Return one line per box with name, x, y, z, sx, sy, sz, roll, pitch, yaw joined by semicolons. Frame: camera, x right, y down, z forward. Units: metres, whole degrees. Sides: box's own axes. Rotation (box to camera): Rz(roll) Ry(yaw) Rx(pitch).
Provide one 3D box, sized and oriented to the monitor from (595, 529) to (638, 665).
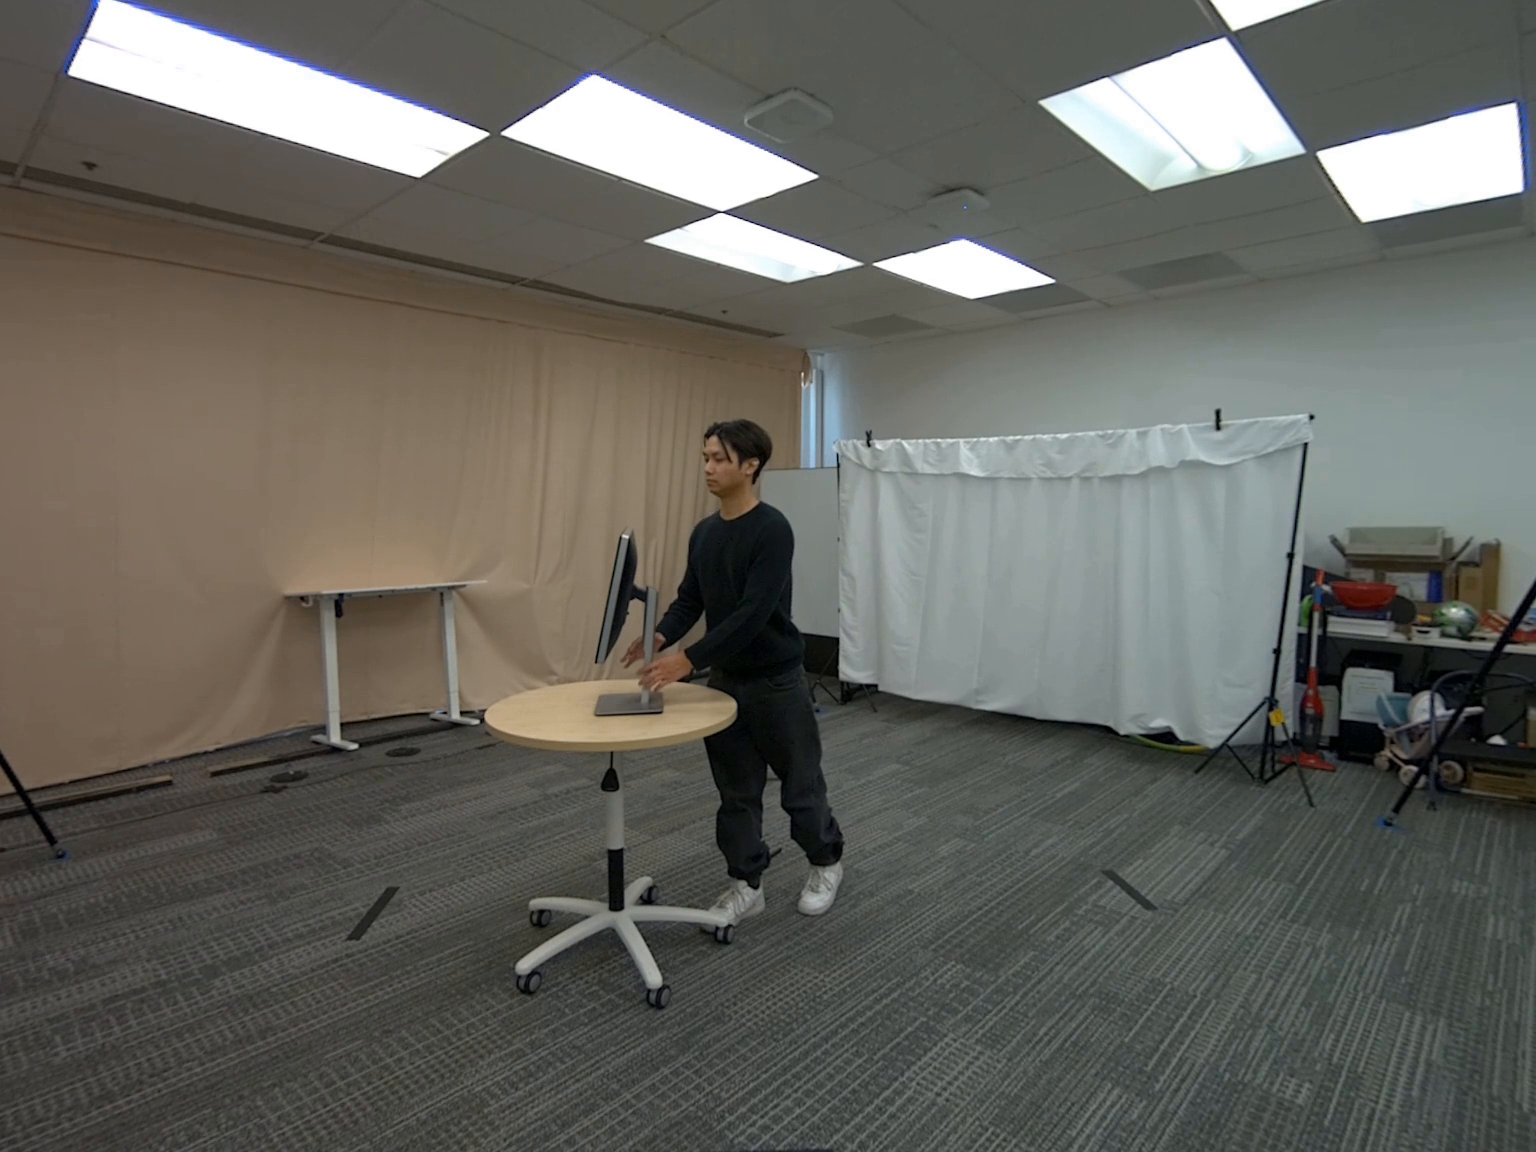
monitor;-0.431;0.135;2.589;0.173;0.514;0.535;-5;5;-8
